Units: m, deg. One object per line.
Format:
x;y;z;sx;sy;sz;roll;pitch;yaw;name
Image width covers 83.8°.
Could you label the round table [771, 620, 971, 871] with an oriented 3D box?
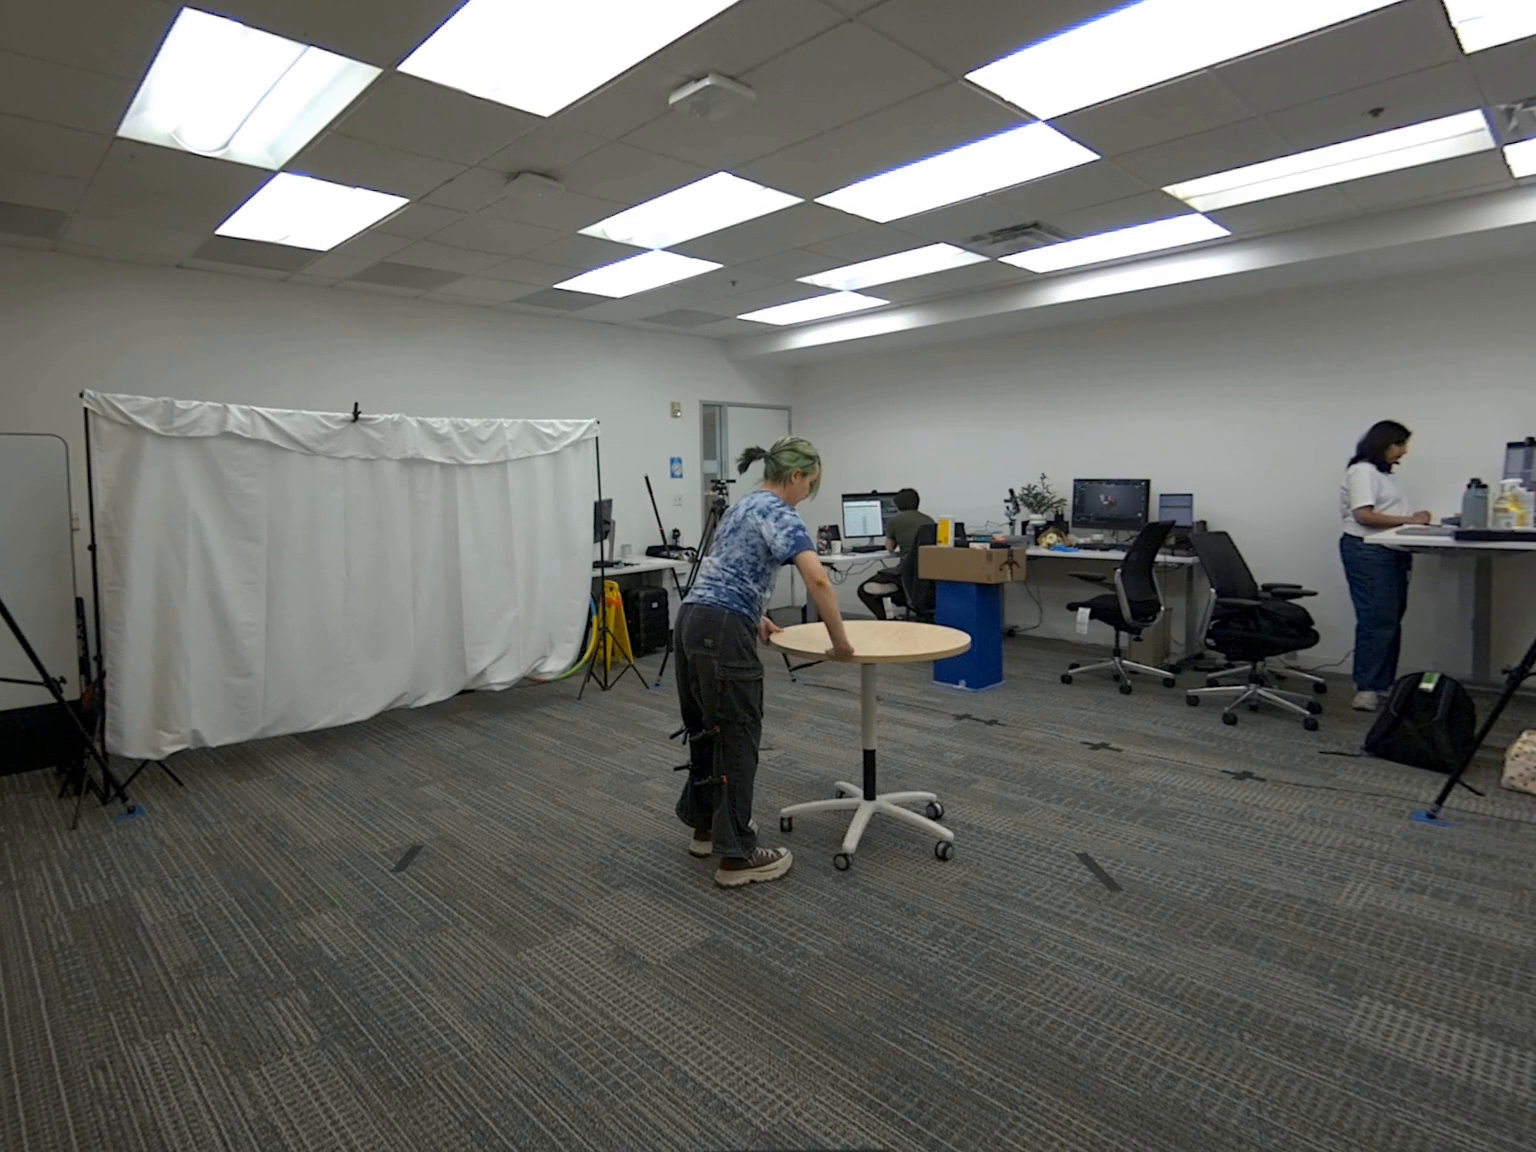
0.392;0.625;3.338;0.763;0.791;0.768;-1;5;-2;round table
